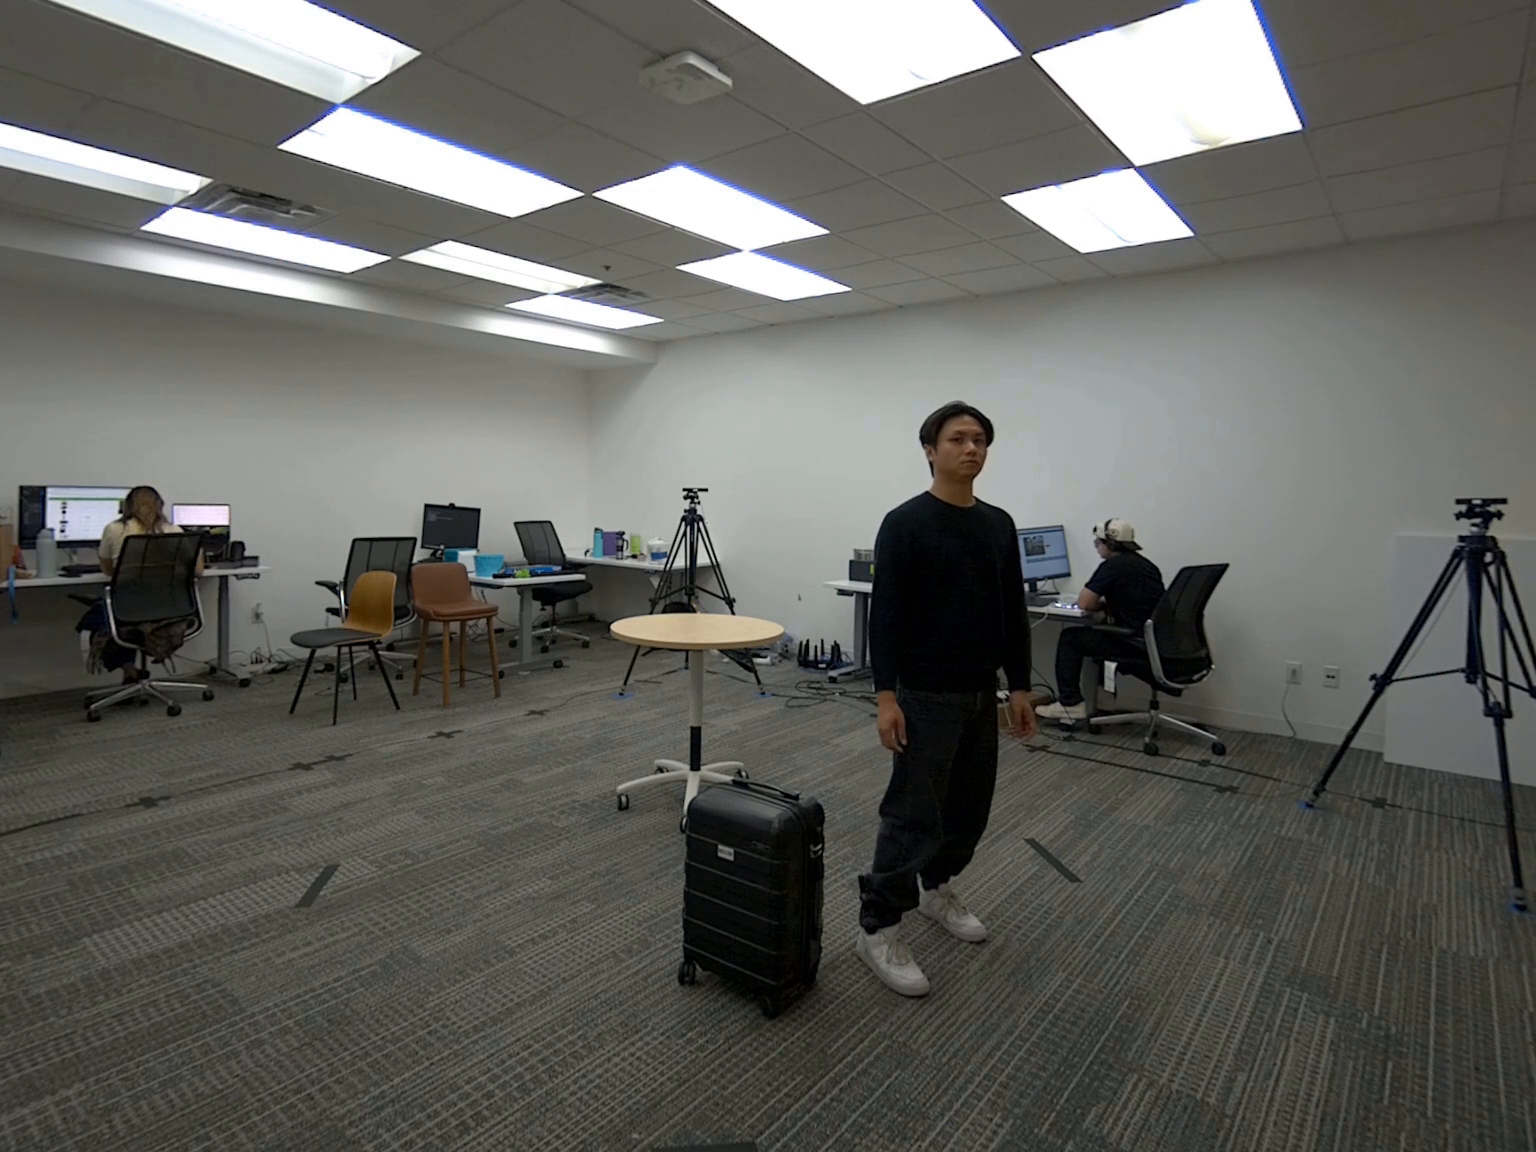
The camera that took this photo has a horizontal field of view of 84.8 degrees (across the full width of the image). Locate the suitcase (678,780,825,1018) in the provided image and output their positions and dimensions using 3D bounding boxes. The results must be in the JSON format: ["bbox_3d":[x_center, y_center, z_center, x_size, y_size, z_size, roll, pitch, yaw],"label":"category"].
[{"bbox_3d":[-0.044,0.874,2.386,0.387,0.547,0.242,5,5,33],"label":"suitcase"}]
